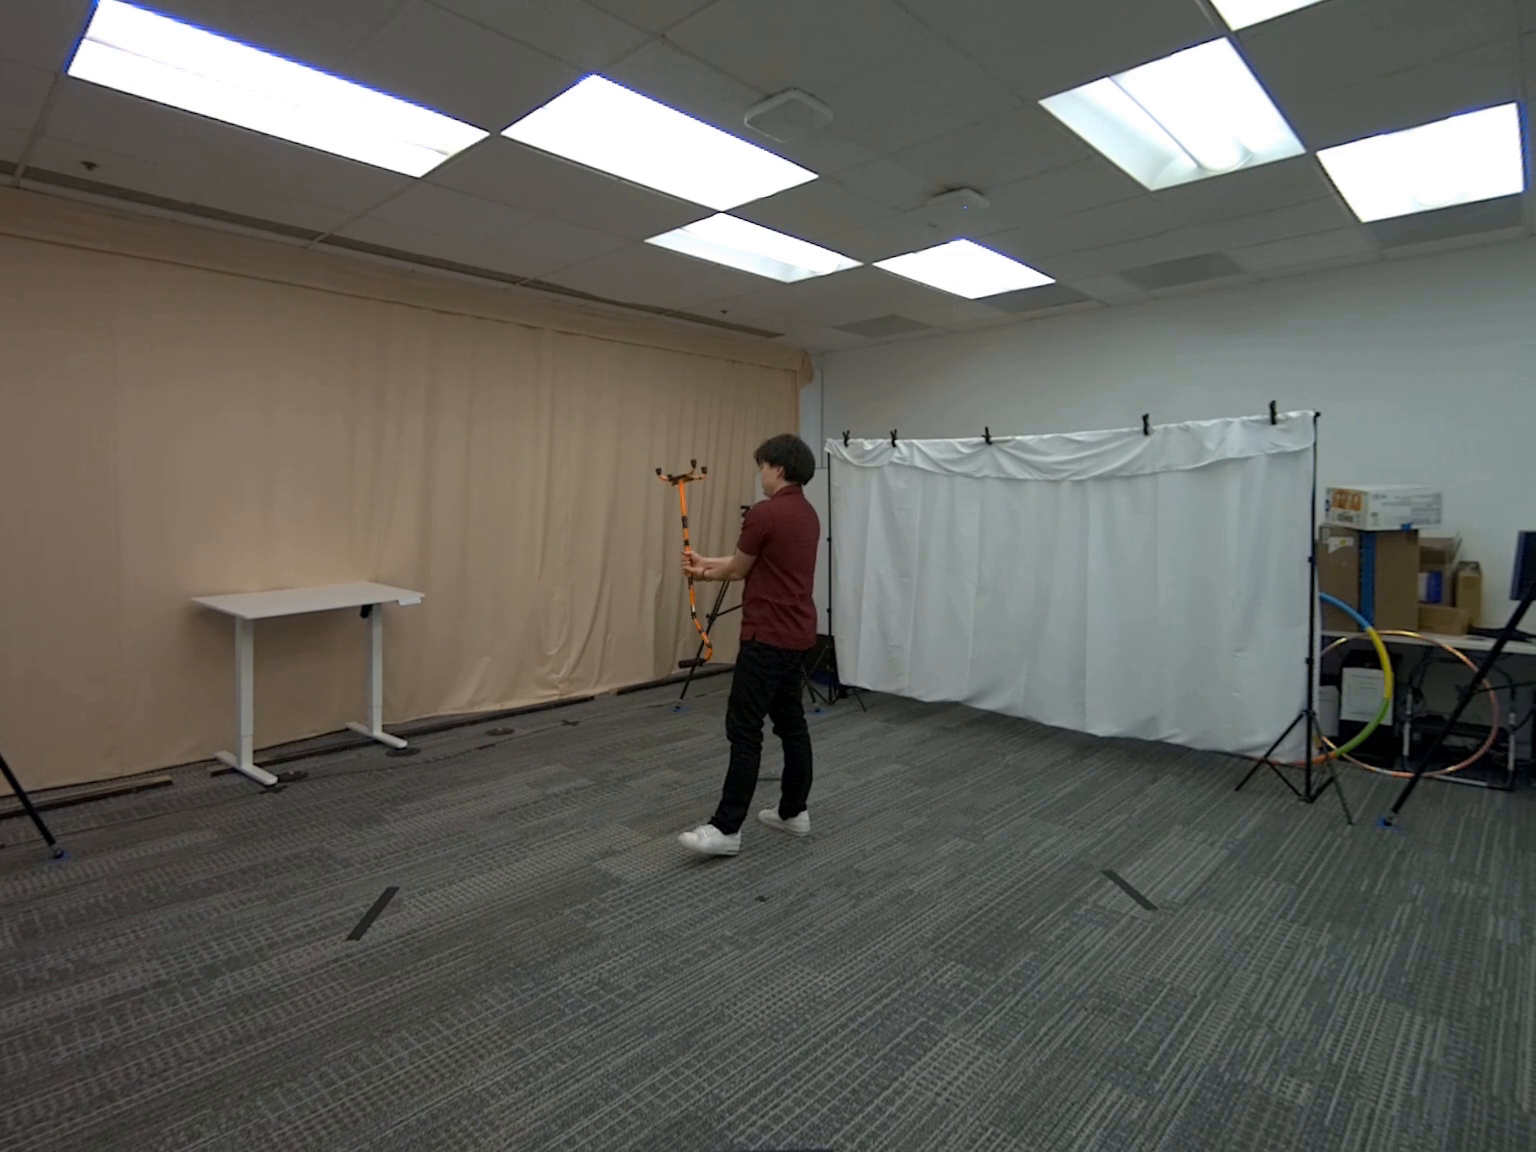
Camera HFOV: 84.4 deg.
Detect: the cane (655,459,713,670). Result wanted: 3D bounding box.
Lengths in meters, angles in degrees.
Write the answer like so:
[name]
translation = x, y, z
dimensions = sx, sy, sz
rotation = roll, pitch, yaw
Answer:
[cane]
translation = -0.352, -0.051, 3.788
dimensions = 0.210, 0.916, 0.147
rotation = -12, -12, 21
